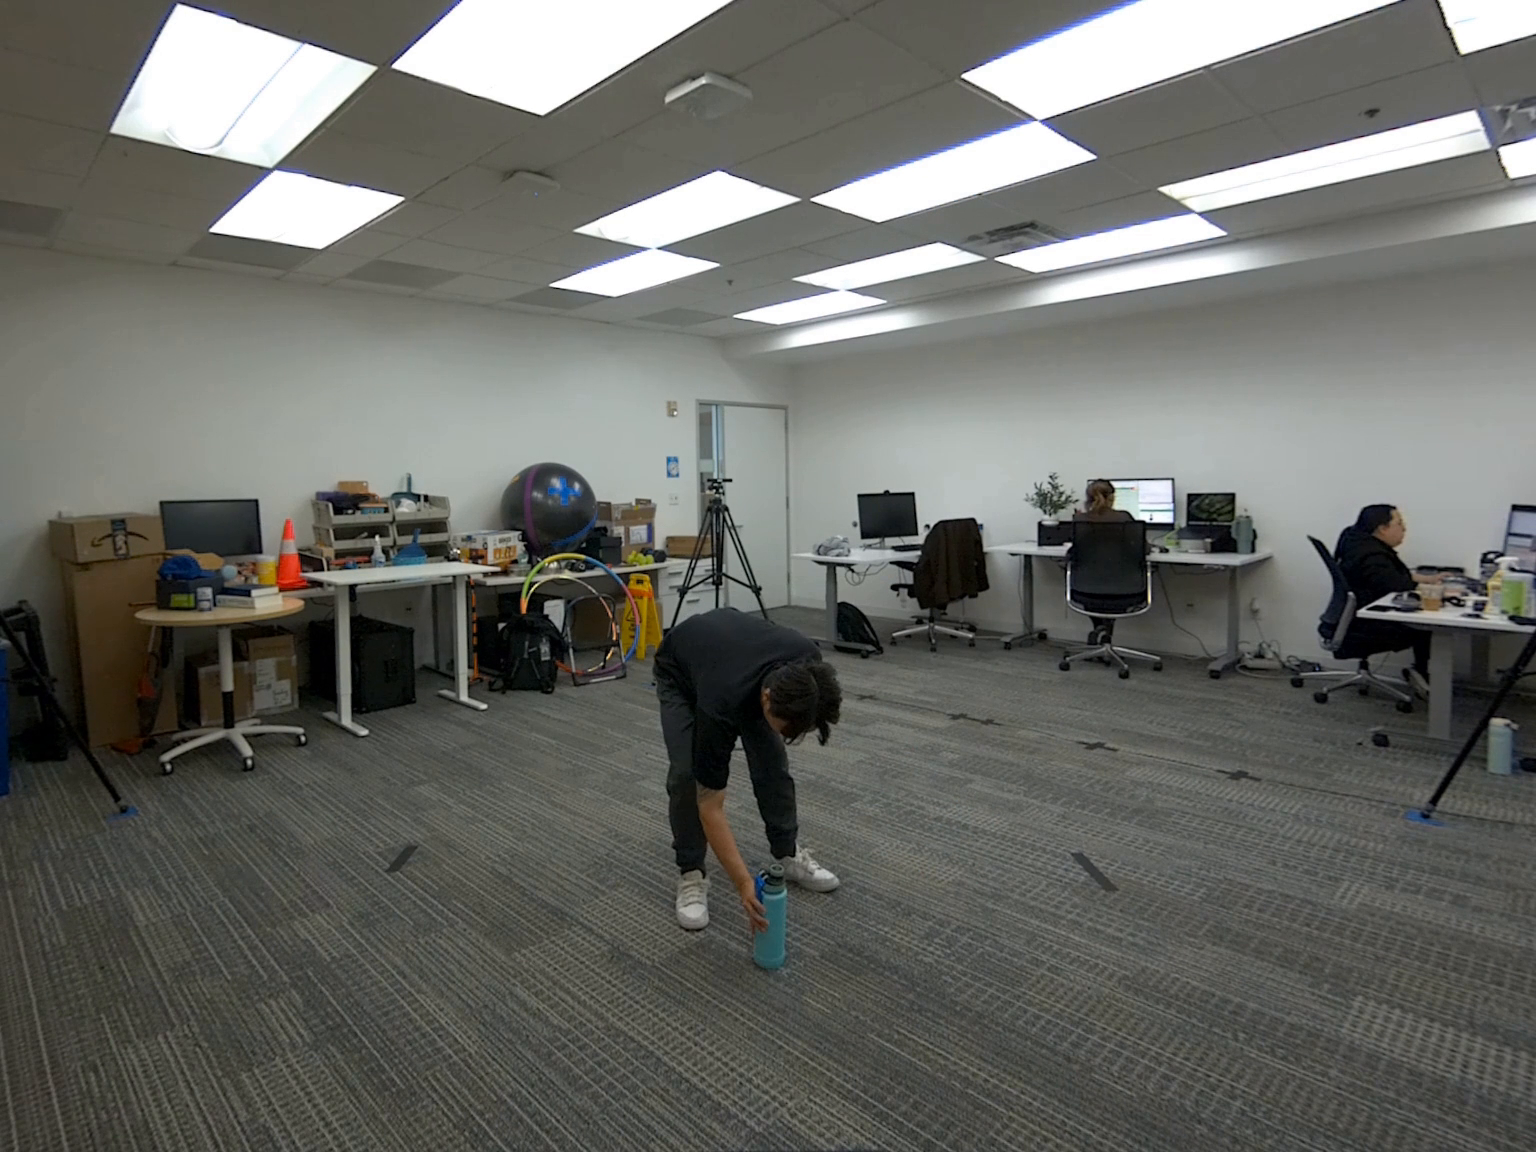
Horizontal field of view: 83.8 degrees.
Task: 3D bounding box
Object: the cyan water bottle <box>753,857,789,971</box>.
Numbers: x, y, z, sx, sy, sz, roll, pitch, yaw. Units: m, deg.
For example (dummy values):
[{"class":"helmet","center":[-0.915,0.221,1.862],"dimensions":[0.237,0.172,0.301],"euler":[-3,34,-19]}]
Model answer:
[{"class":"cyan water bottle","center":[0.008,0.979,2.457],"dimensions":[0.092,0.281,0.093],"euler":[1,9,-2]}]
